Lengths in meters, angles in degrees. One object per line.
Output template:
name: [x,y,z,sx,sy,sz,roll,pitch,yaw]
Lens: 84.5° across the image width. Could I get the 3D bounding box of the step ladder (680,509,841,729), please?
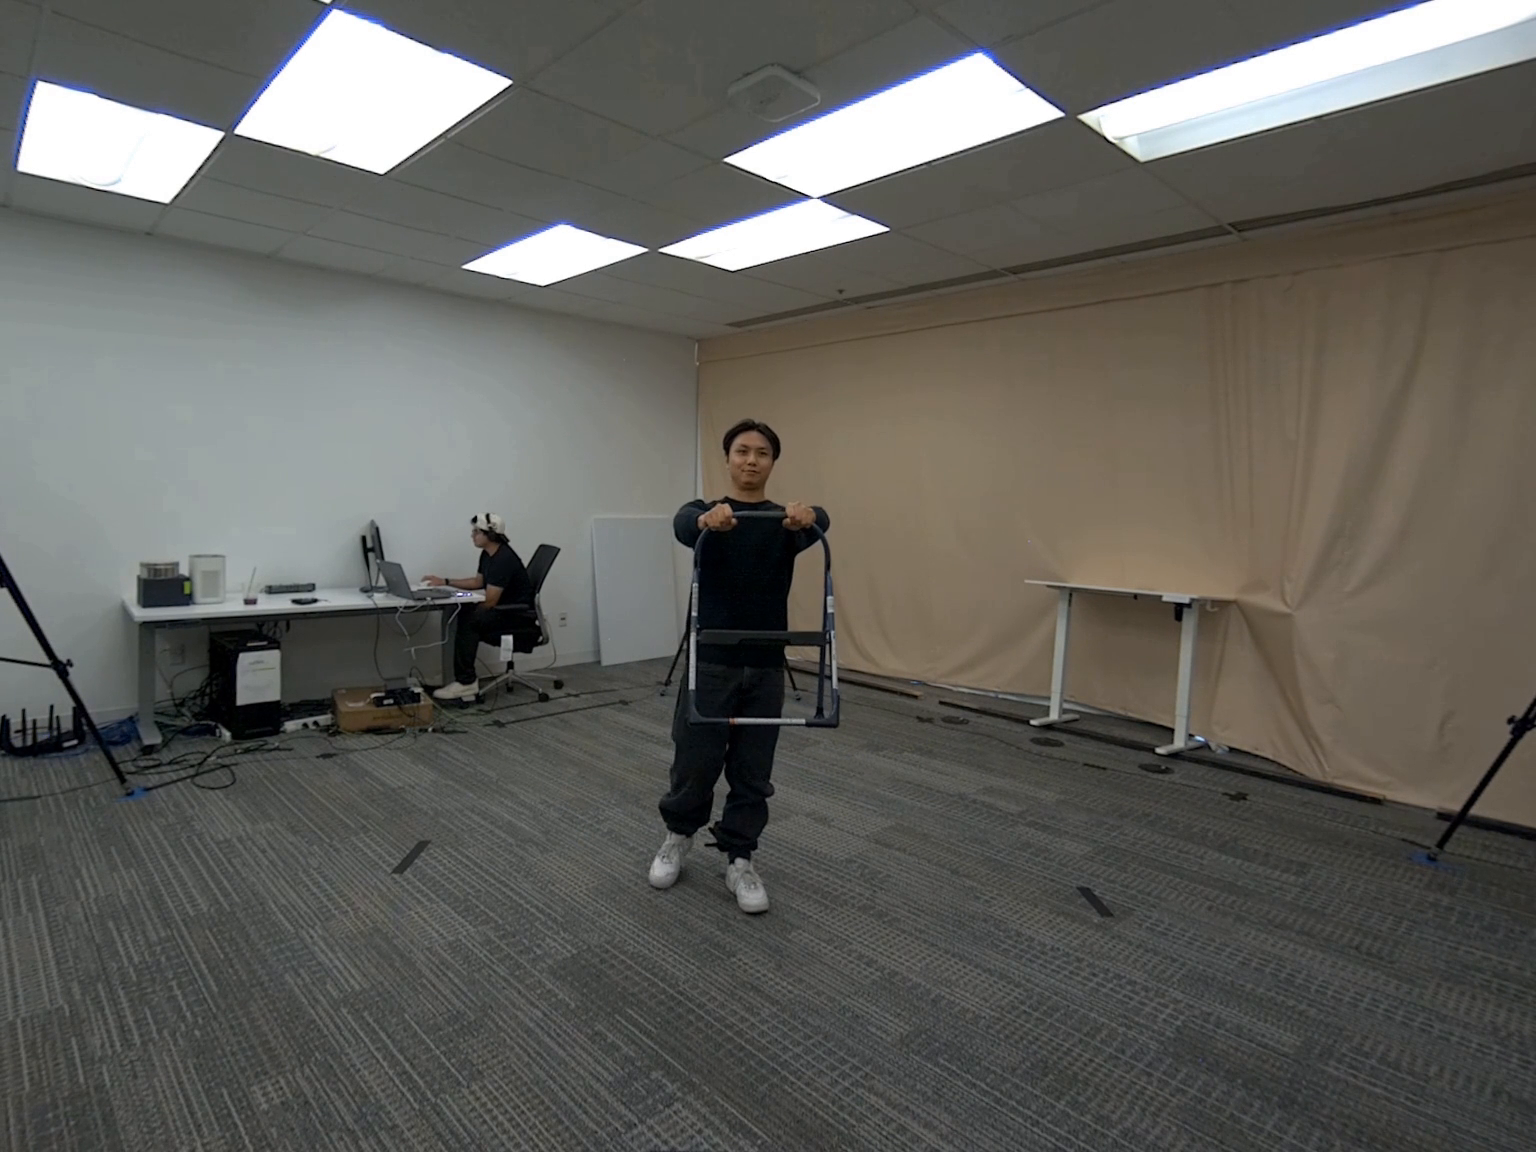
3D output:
step ladder: [-0.041,0.135,2.478,0.429,0.608,0.349,-1,-5,-5]
